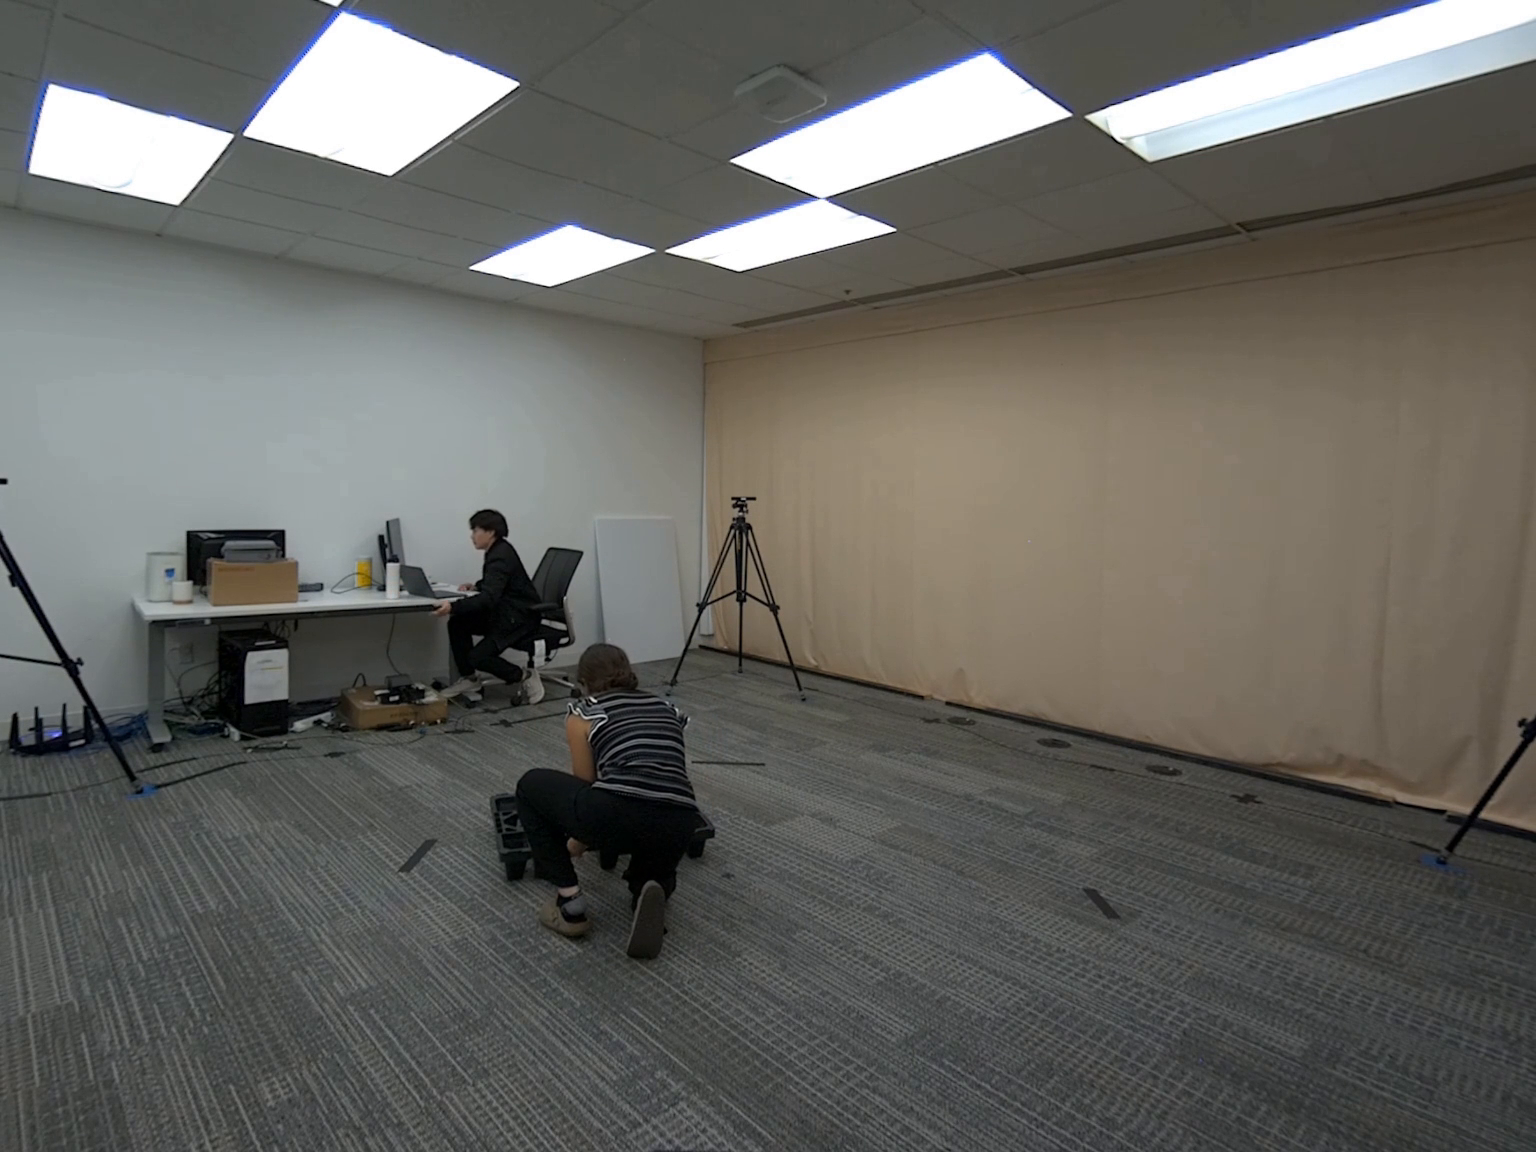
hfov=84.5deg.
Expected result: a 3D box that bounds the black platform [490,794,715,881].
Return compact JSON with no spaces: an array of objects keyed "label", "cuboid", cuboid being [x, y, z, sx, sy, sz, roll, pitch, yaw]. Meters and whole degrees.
[{"label":"black platform","cuboid":[-0.687,1.008,3.355,0.793,0.143,0.616,0,4,-20]}]
